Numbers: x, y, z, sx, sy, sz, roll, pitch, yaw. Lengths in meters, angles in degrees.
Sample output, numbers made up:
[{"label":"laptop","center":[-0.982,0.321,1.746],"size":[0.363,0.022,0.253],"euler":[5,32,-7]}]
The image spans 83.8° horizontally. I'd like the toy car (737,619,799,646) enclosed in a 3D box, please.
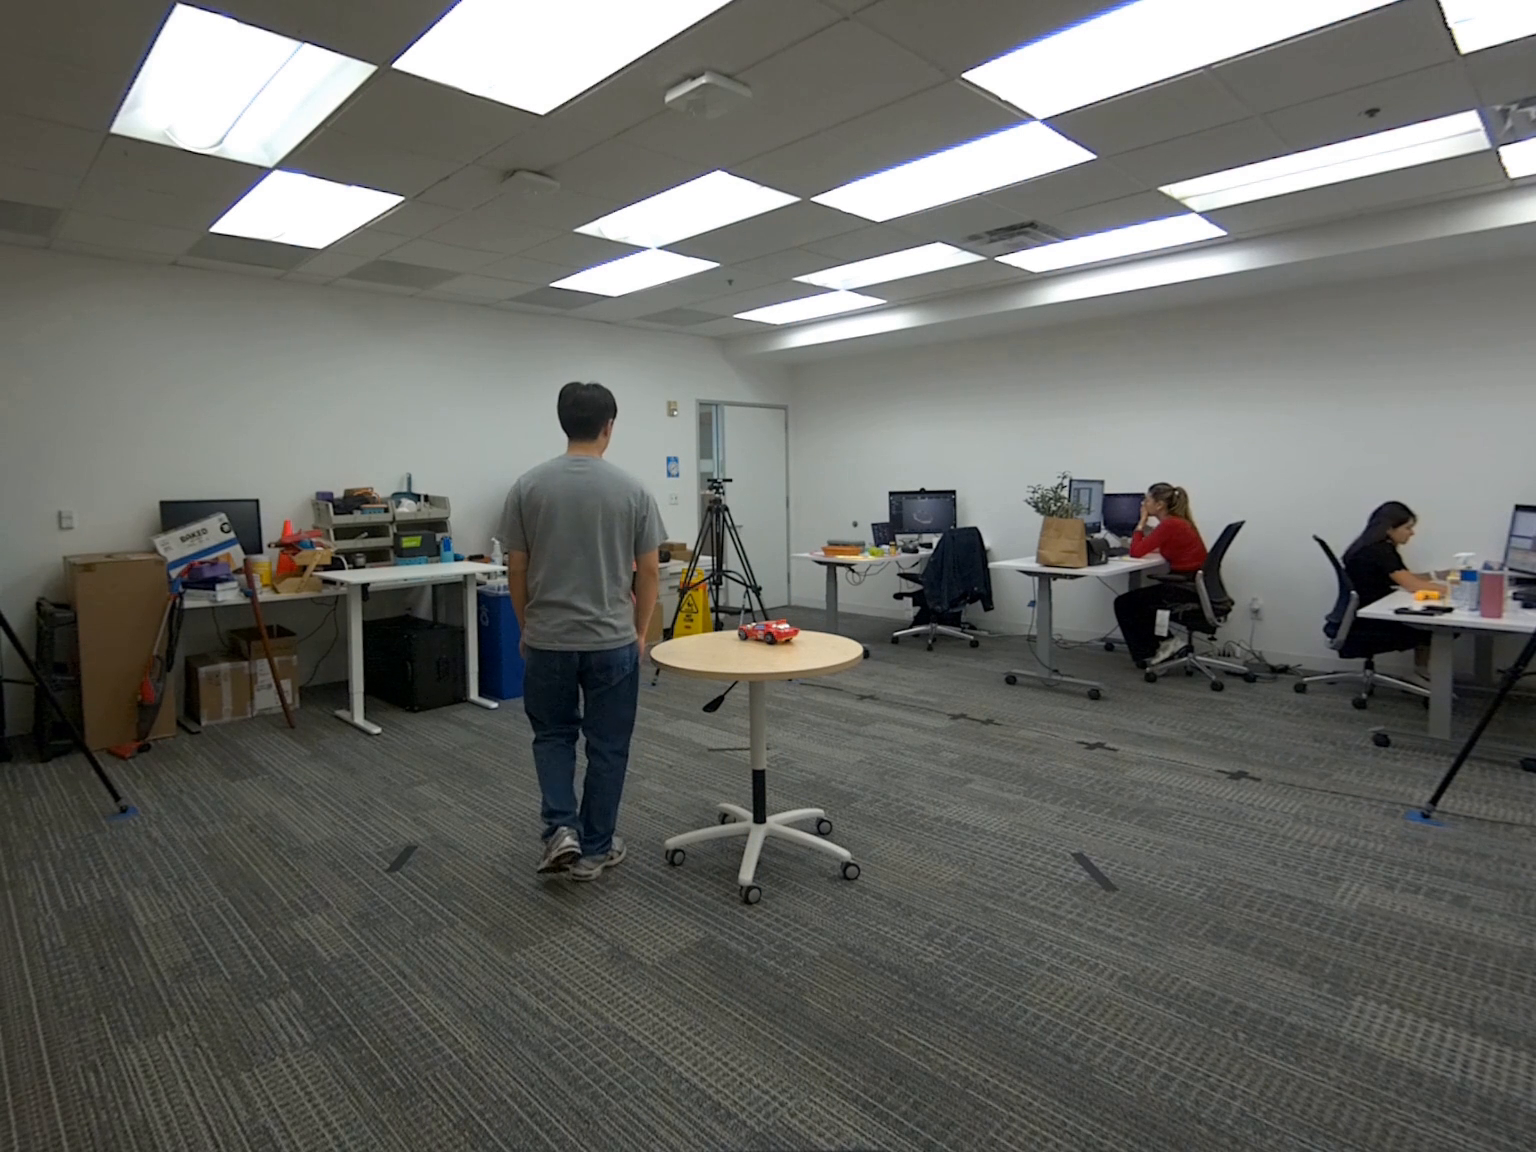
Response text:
[{"label":"toy car","center":[0.008,0.215,3.225],"size":[0.127,0.083,0.260],"euler":[-7,-3,-44]}]
